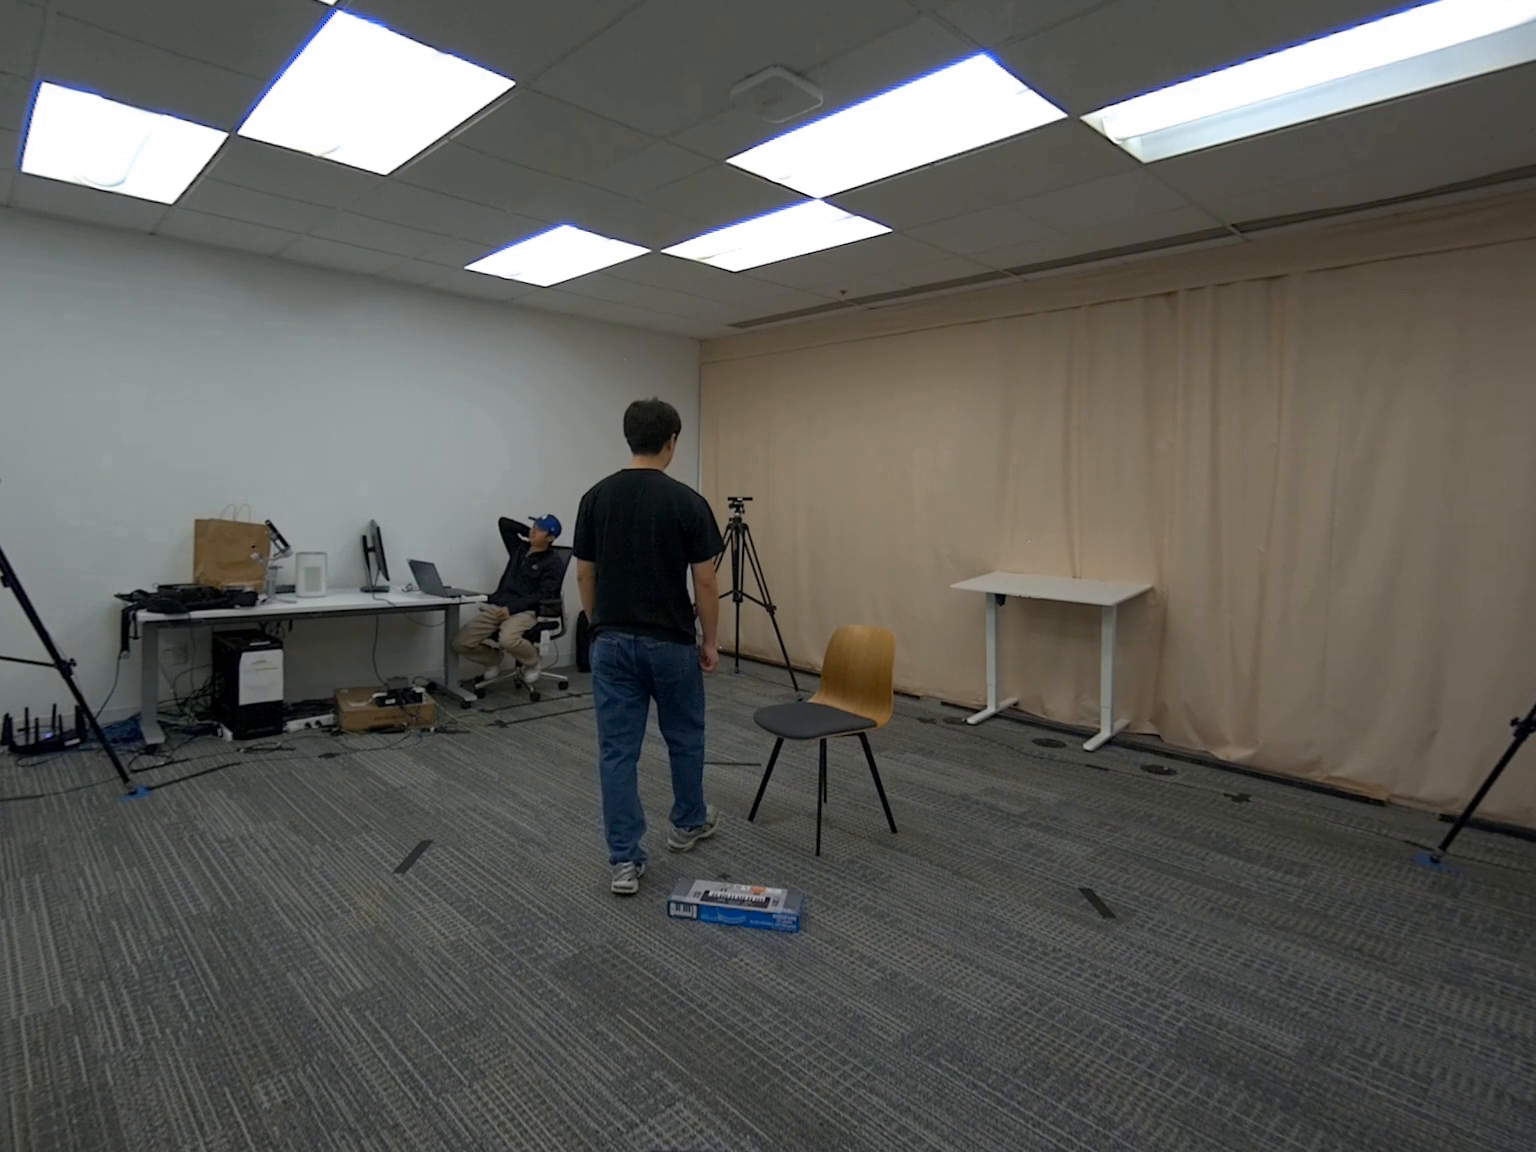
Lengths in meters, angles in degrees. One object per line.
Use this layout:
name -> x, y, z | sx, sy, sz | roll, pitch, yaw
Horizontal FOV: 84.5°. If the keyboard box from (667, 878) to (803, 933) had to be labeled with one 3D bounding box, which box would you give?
keyboard box -> -0.111, 1.106, 2.826 | 0.441, 0.059, 0.175 | 2, 5, 11
